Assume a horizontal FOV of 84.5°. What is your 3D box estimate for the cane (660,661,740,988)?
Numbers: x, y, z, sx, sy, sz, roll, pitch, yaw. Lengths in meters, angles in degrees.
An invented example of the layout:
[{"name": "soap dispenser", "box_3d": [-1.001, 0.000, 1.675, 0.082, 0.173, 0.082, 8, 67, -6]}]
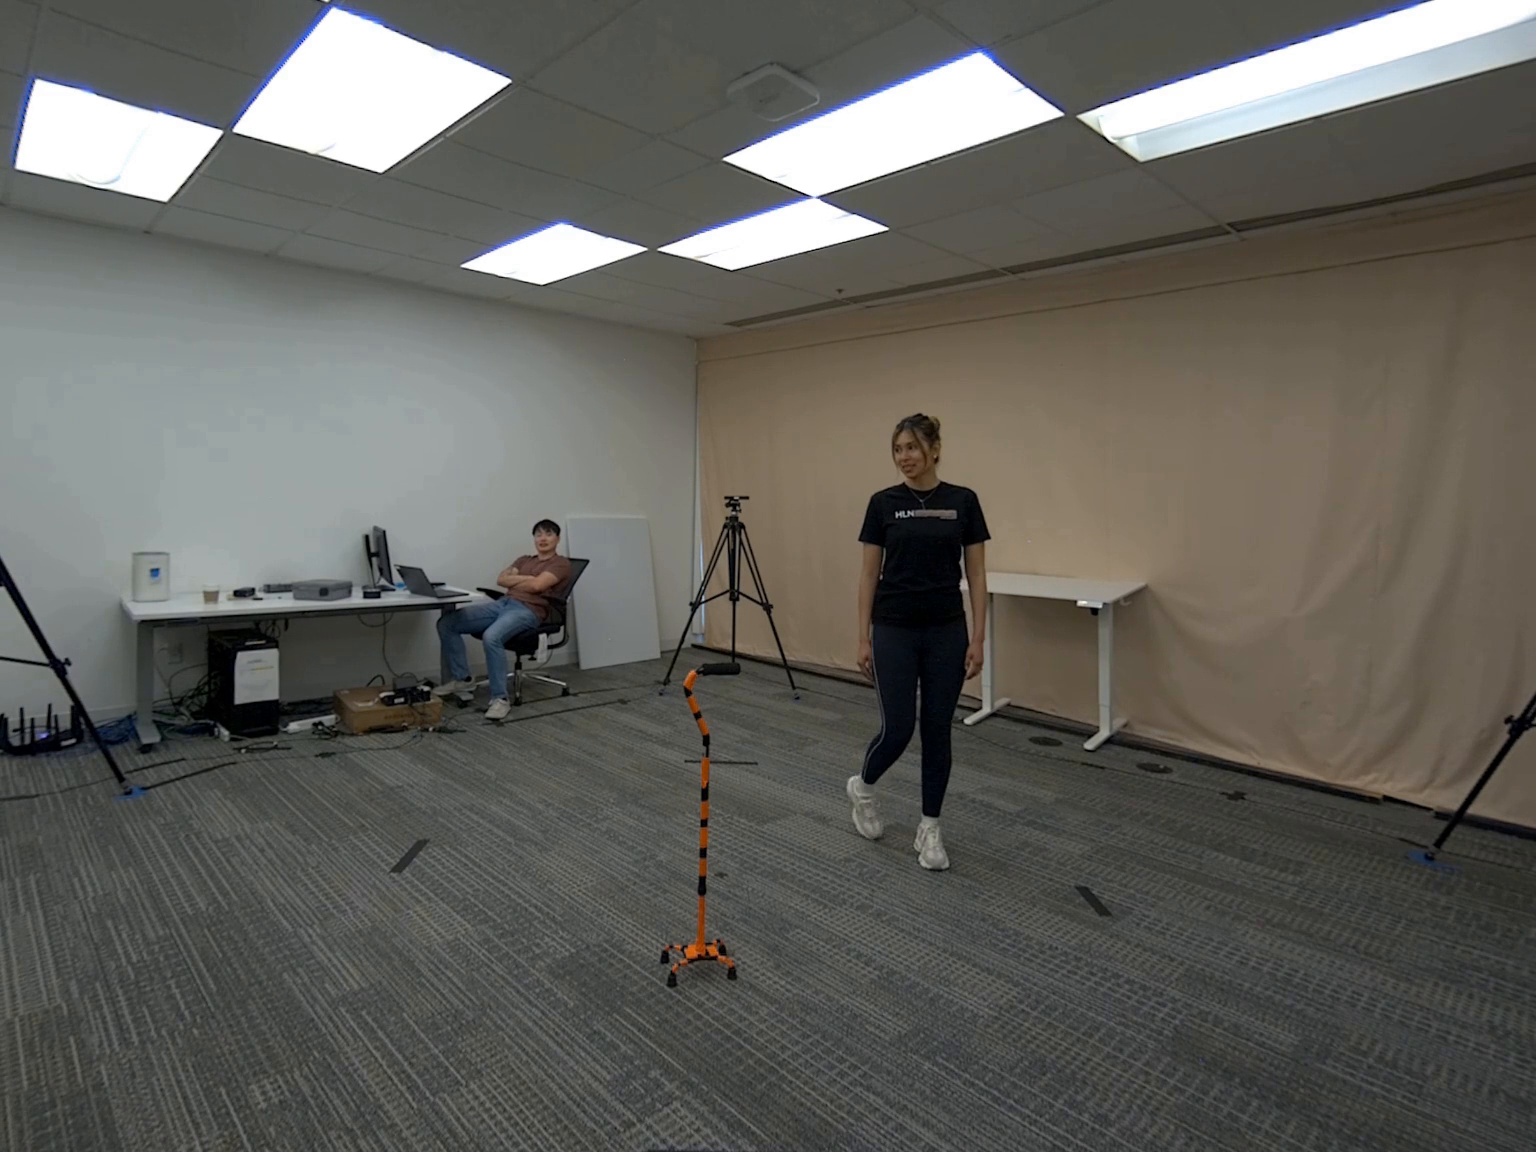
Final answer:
[{"name": "cane", "box_3d": [-0.194, 0.710, 2.447, 0.204, 0.905, 0.154, 1, 4, -15]}]
